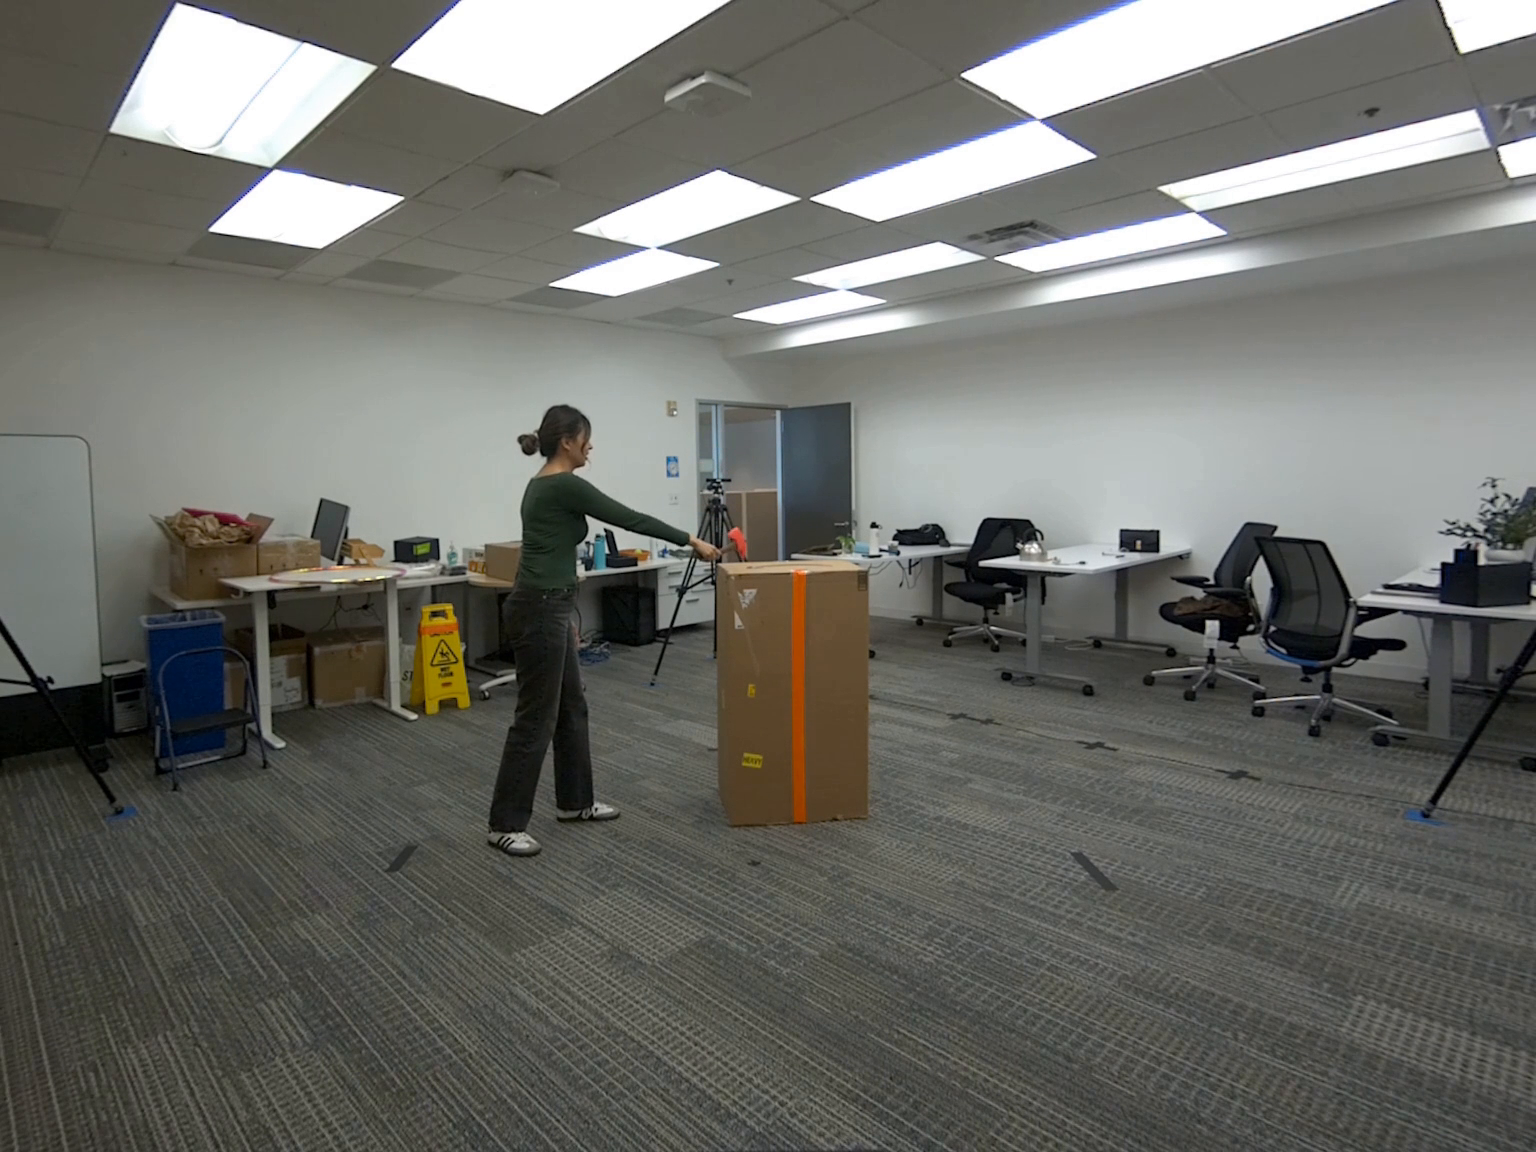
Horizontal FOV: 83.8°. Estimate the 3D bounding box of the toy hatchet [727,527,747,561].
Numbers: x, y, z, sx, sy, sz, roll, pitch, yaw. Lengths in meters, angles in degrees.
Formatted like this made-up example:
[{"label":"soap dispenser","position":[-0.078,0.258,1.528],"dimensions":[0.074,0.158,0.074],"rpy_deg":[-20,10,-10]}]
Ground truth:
[{"label":"toy hatchet","position":[-0.217,-0.144,3.543],"dimensions":[0.263,0.130,0.030],"rpy_deg":[0,7,-33]}]
